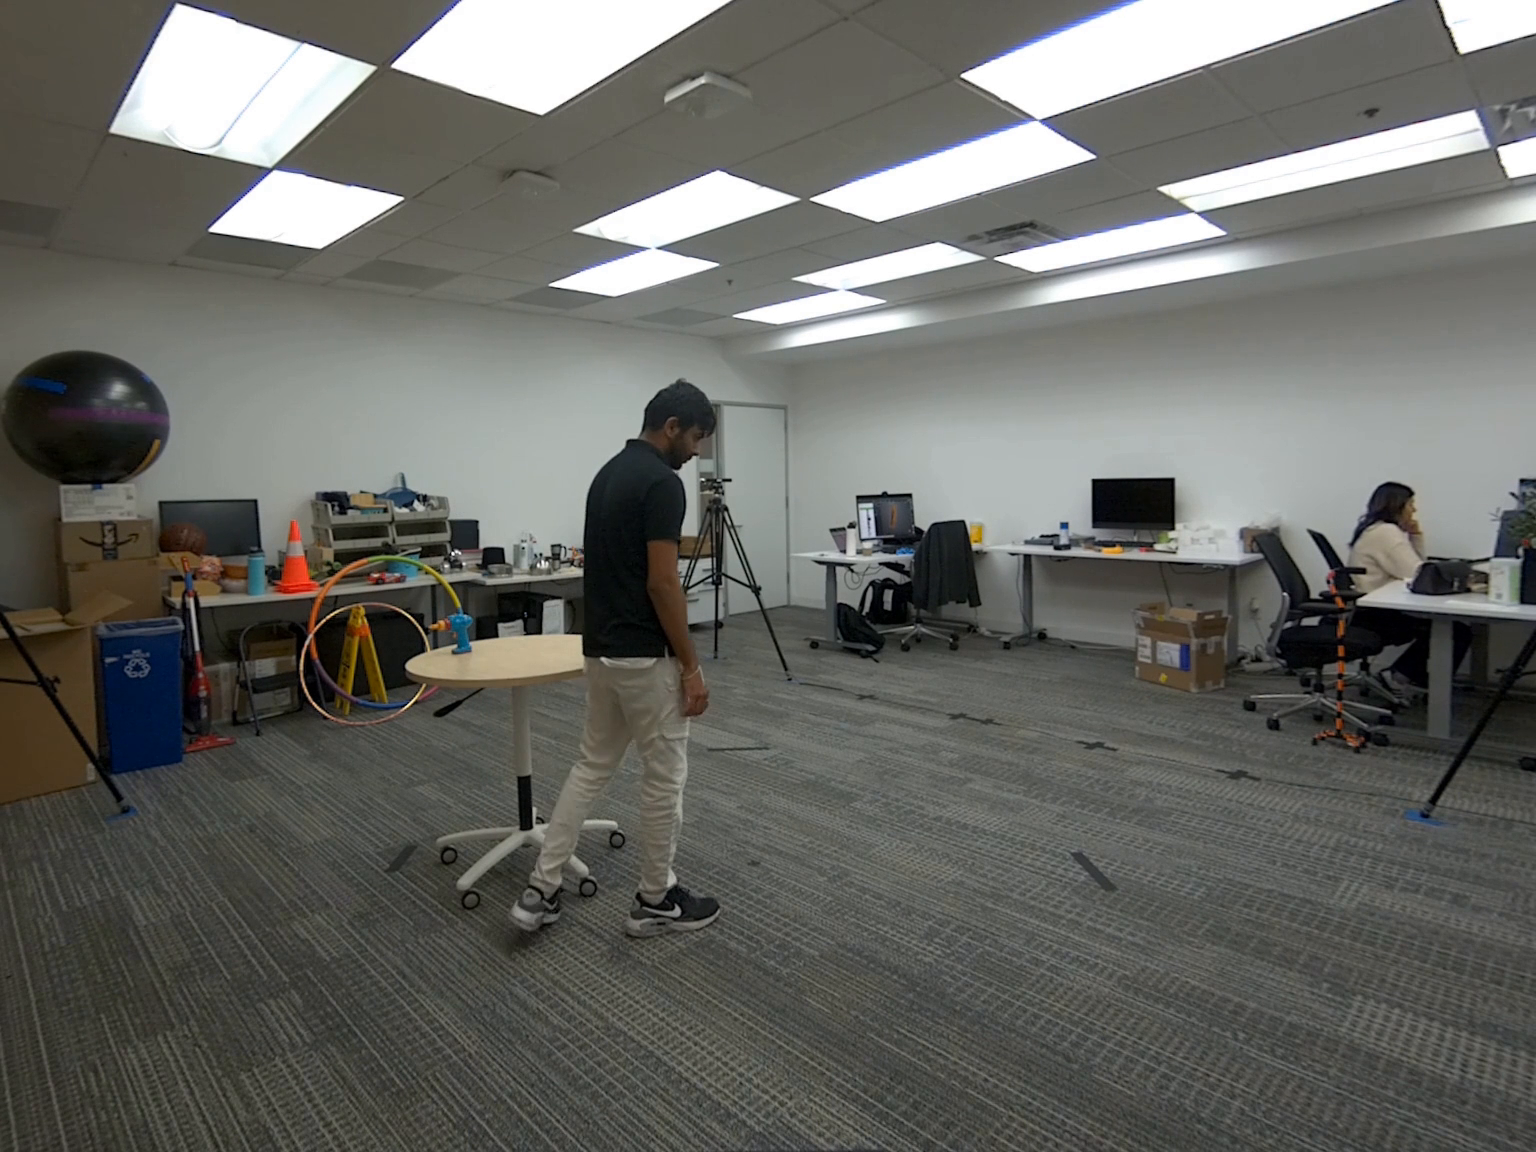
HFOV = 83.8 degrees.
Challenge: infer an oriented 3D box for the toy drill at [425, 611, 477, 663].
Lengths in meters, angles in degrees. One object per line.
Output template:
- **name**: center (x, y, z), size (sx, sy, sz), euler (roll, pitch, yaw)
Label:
- **toy drill**: center (-1.152, 0.219, 3.111), size (0.063, 0.145, 0.166), euler (6, 10, 32)
